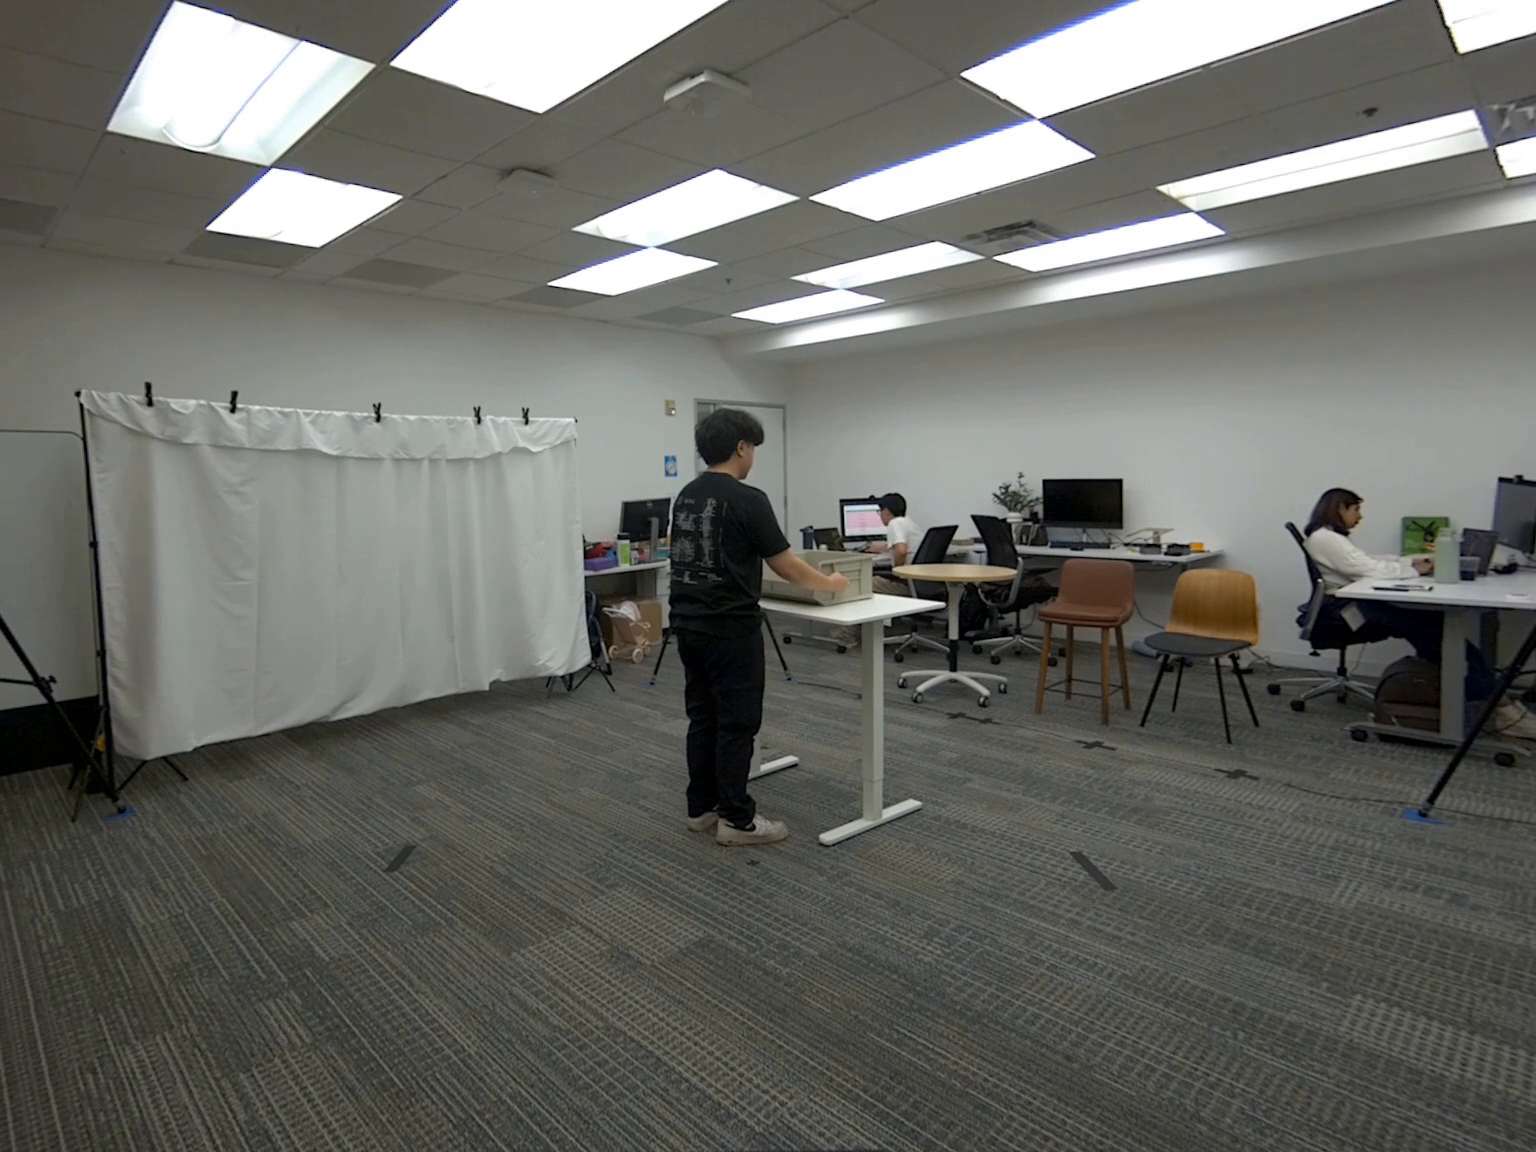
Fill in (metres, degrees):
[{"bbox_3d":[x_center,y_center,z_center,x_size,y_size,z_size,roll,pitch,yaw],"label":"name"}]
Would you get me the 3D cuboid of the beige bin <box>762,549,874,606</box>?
[{"bbox_3d":[0.184,0.007,3.646,0.367,0.188,0.435,-5,7,-39],"label":"beige bin"}]
